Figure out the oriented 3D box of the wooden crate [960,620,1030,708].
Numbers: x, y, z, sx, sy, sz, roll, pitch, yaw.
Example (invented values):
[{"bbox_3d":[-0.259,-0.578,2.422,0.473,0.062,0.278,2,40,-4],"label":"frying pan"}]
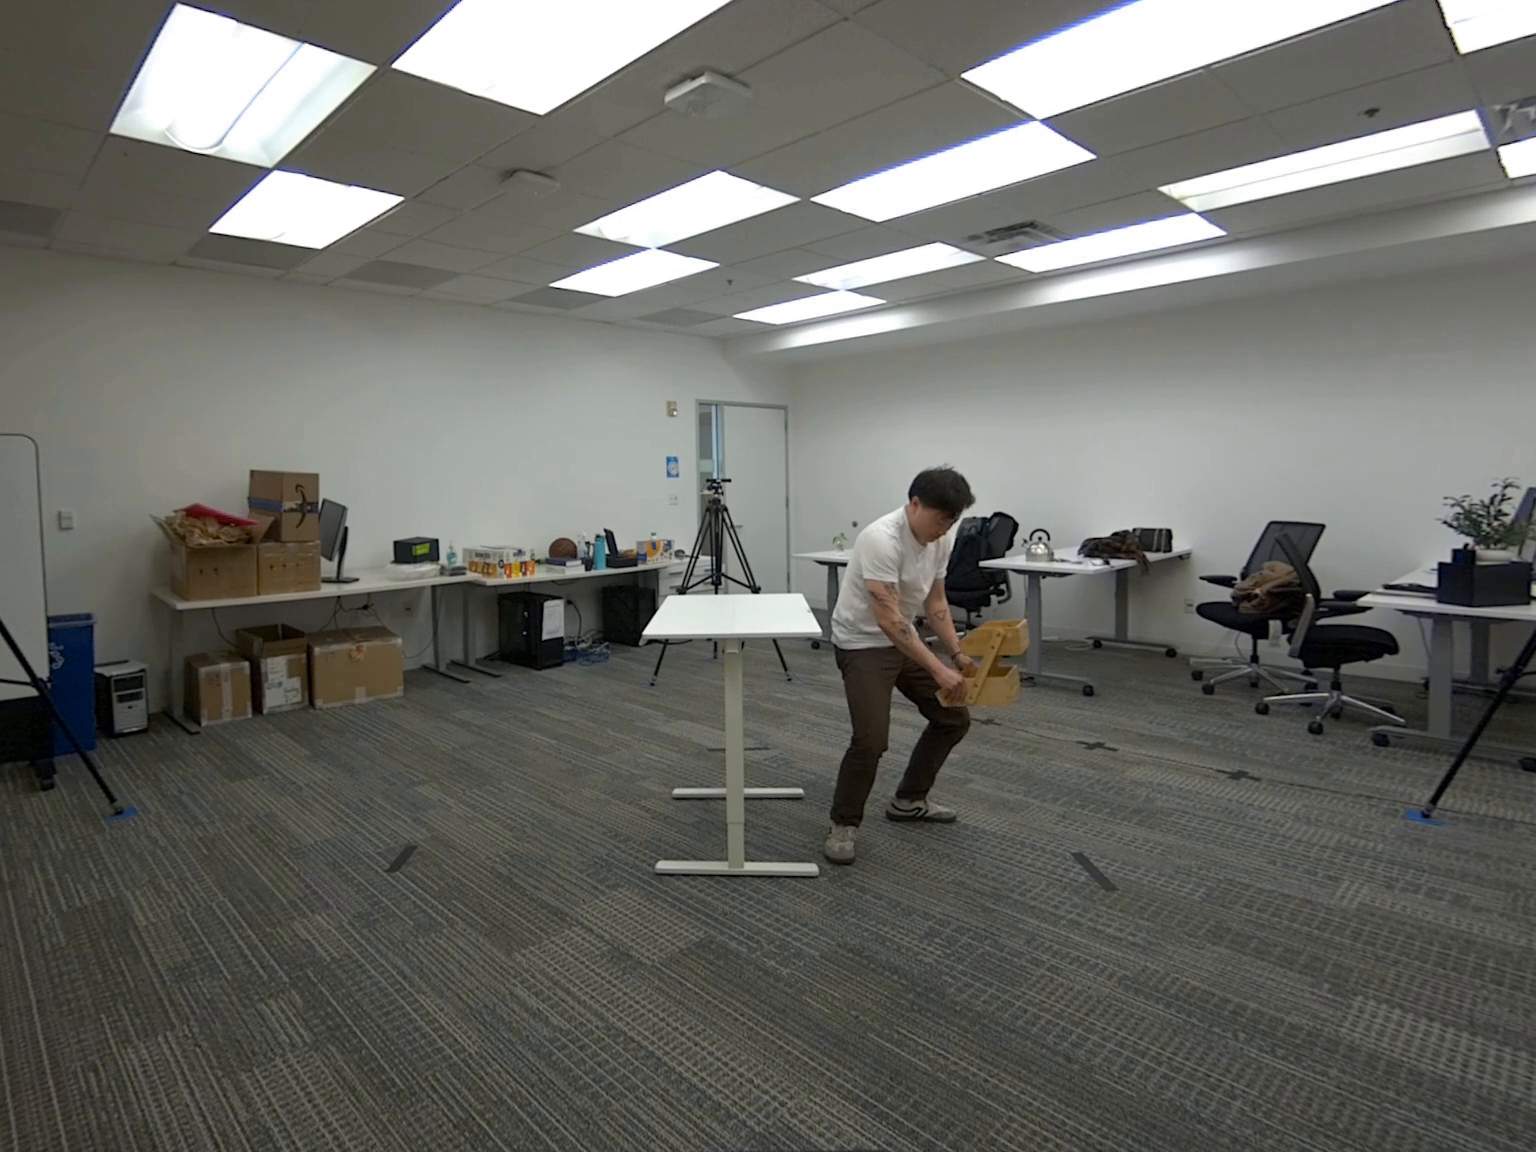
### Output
[{"bbox_3d":[0.774,0.304,3.074,0.308,0.274,0.318,-6,-1,24],"label":"wooden crate"}]
